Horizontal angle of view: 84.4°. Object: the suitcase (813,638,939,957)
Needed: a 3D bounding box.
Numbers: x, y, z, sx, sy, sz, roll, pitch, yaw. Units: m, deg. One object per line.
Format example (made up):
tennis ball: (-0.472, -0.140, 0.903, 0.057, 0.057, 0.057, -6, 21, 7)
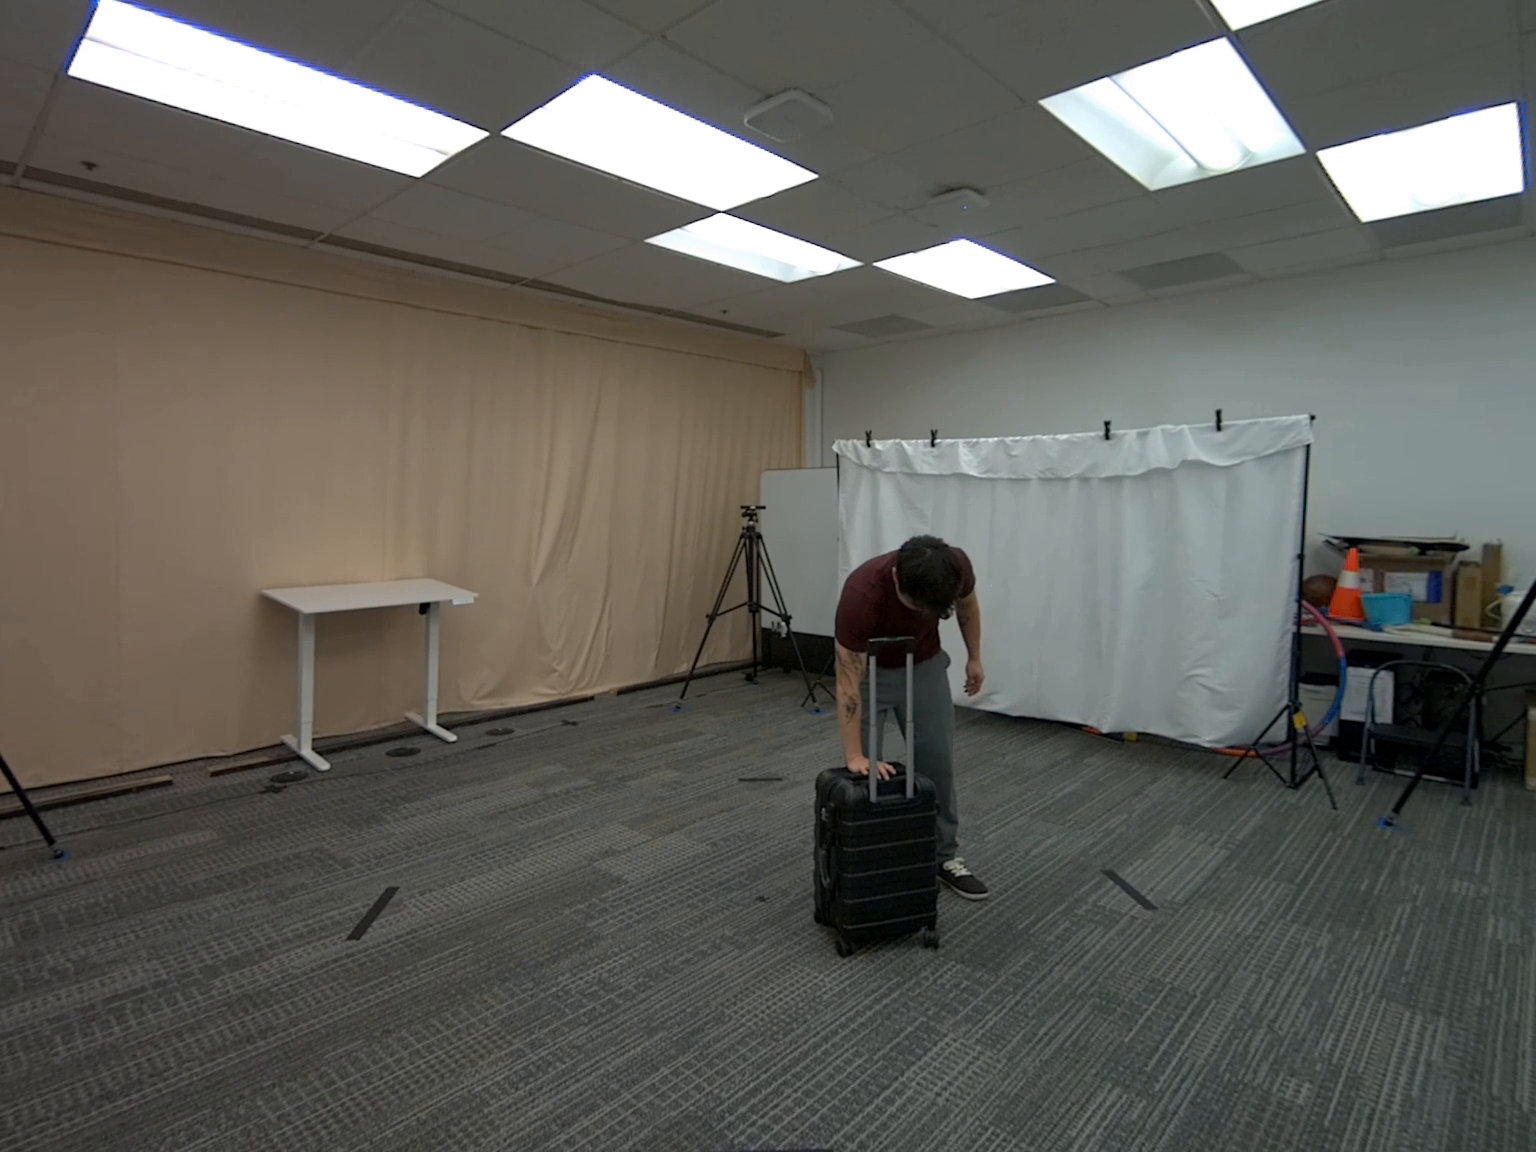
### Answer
suitcase: (0.343, 0.693, 2.704, 0.378, 0.977, 0.261, -1, 3, -14)
